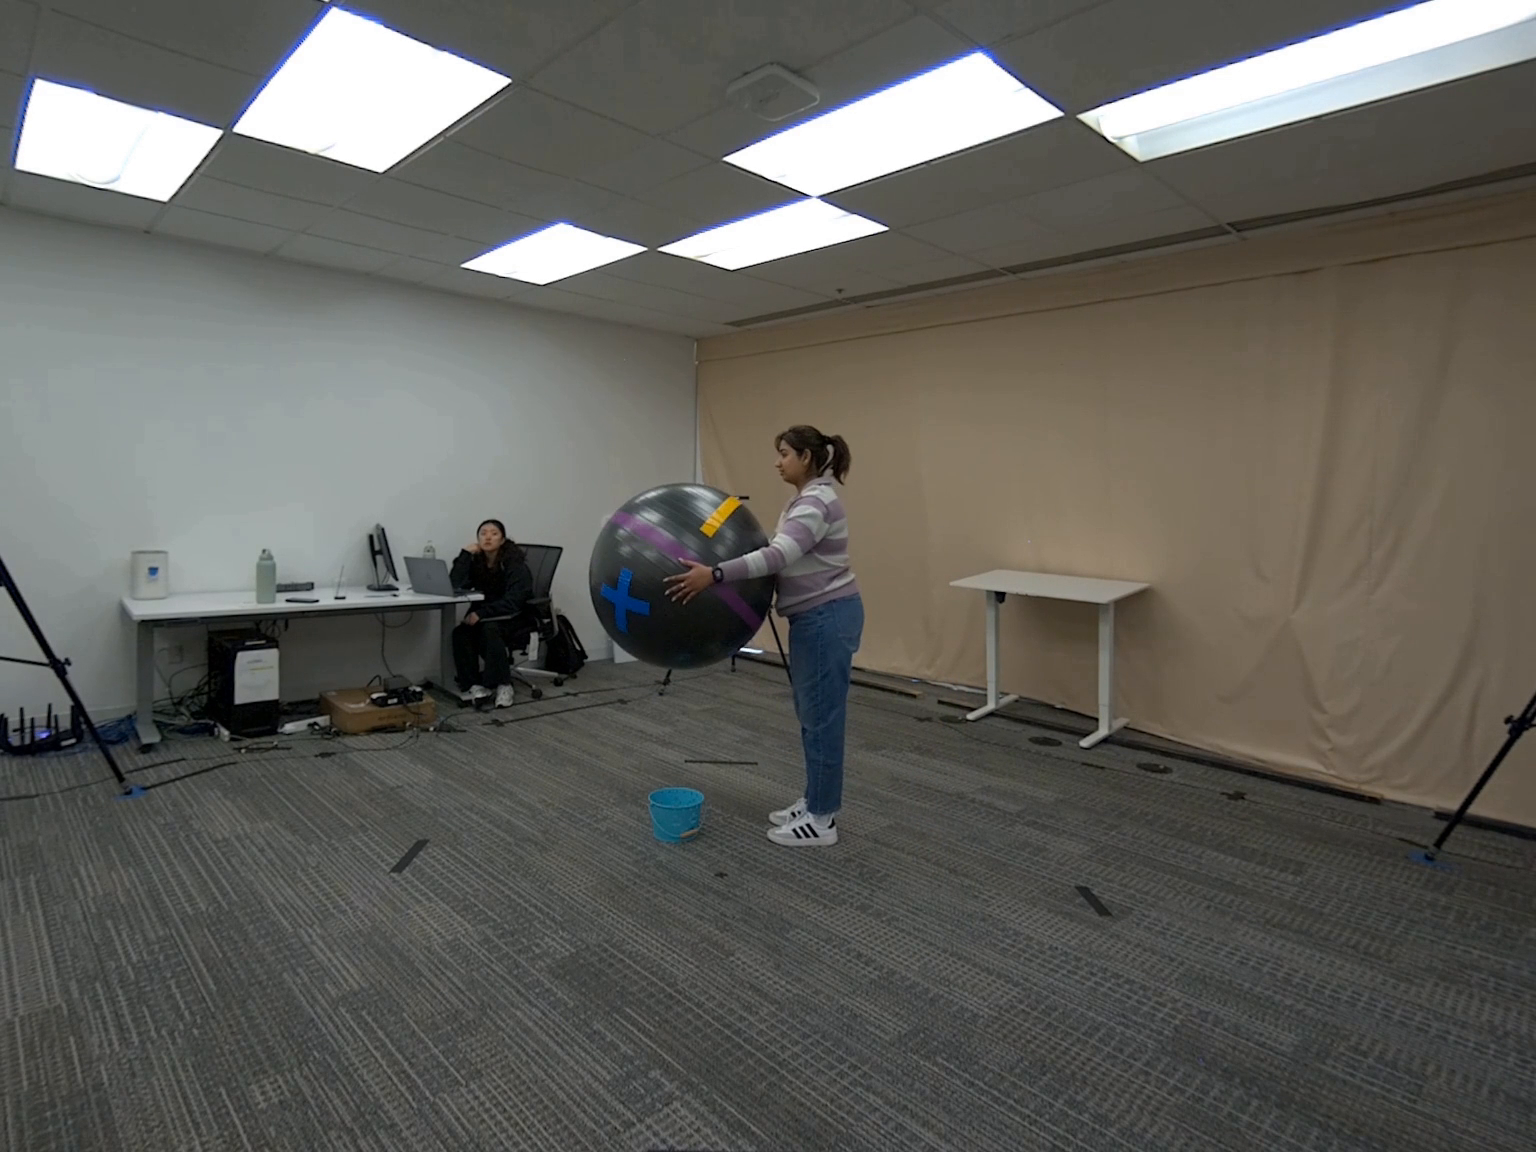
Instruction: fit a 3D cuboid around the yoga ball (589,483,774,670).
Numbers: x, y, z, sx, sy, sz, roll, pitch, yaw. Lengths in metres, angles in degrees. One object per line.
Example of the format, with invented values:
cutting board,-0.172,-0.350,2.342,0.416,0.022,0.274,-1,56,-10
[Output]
yoga ball,-0.358,0.012,3.448,0.757,0.756,0.761,1,4,-1
